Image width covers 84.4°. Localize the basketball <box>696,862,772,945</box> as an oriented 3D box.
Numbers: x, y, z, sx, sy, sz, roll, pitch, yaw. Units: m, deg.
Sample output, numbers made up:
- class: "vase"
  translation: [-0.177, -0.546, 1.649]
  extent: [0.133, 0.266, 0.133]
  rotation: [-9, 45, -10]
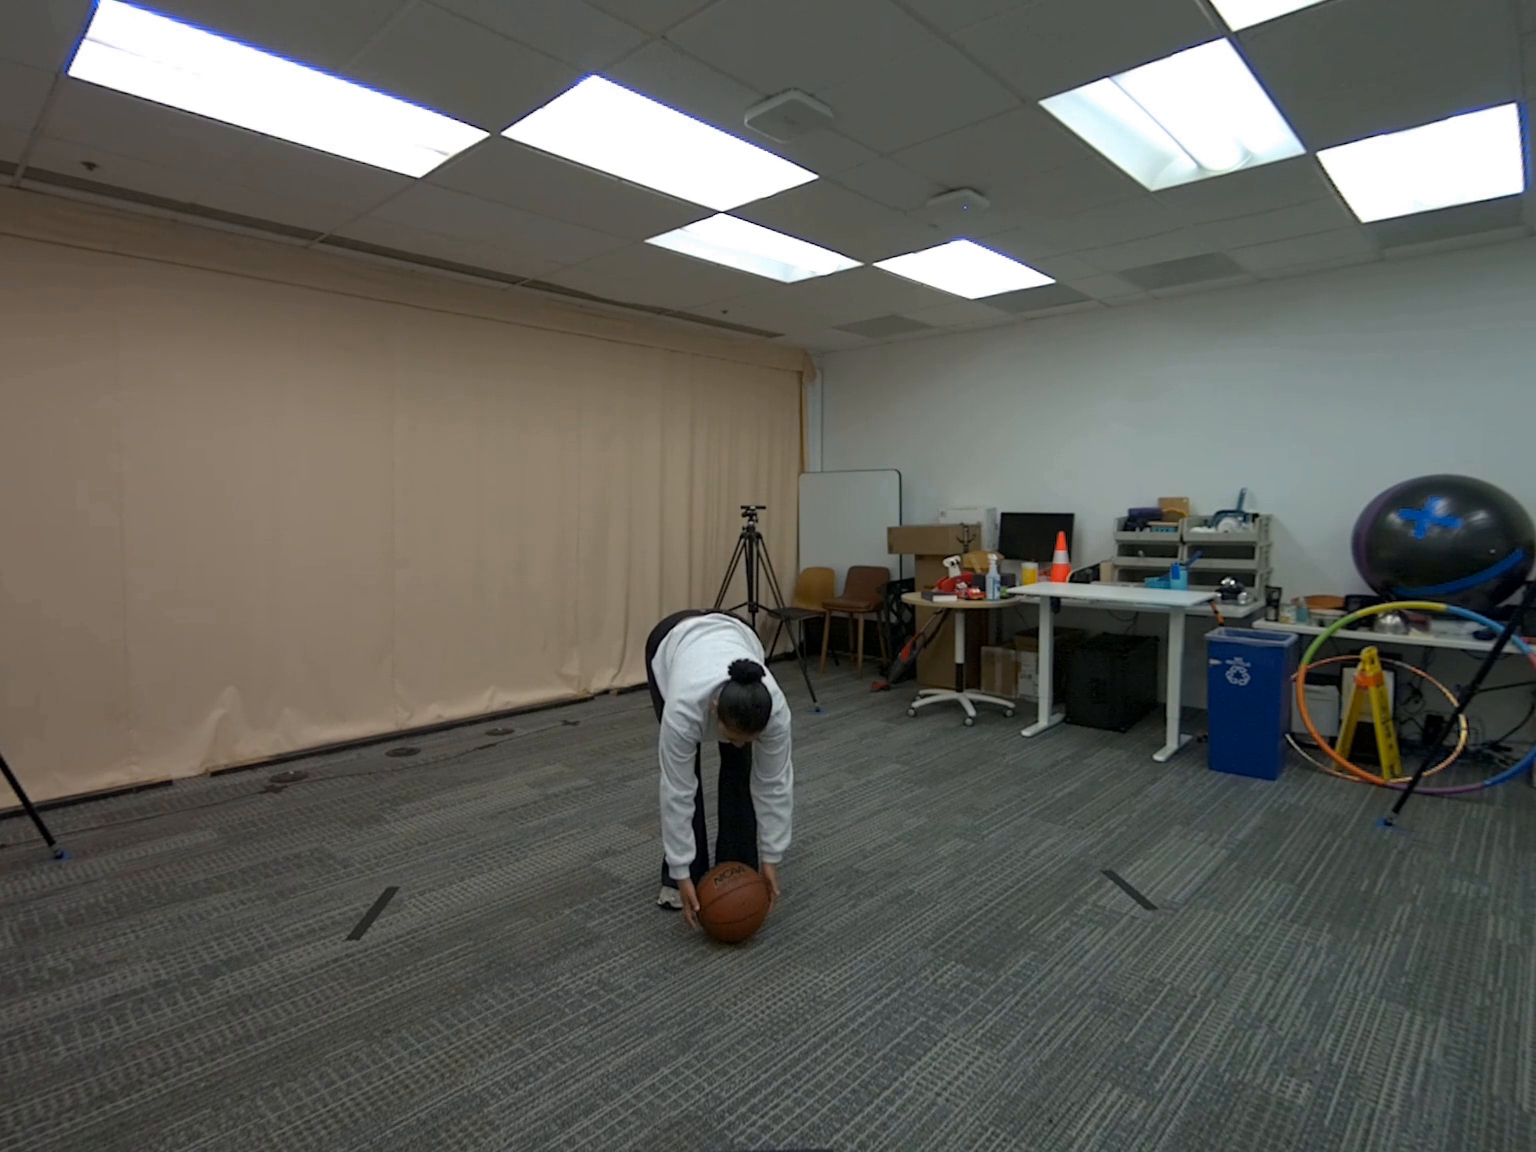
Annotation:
- class: "basketball"
  translation: [-0.118, 1.041, 2.713]
  extent: [0.236, 0.235, 0.237]
  rotation: [0, 4, -2]
